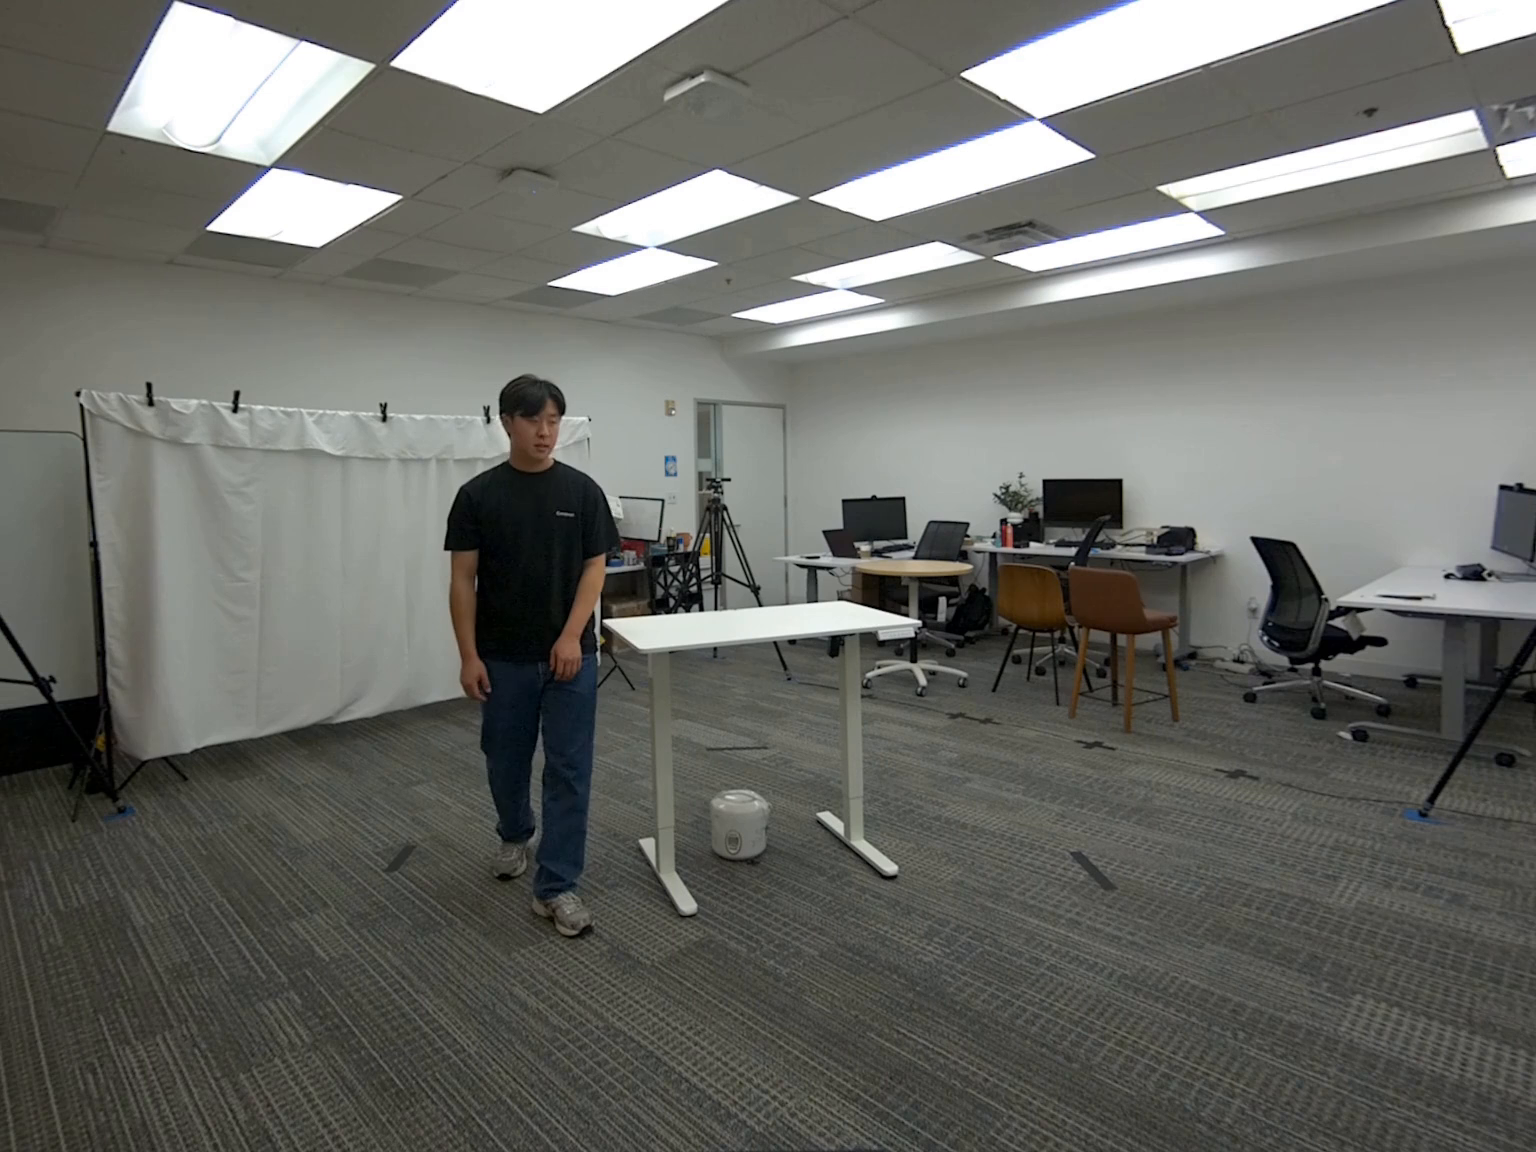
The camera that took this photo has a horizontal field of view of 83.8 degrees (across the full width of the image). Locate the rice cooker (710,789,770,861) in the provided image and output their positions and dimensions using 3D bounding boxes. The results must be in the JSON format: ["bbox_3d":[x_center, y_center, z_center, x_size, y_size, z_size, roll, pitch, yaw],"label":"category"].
[{"bbox_3d":[-0.104,0.916,3.199,0.223,0.232,0.215,0,4,11],"label":"rice cooker"}]
